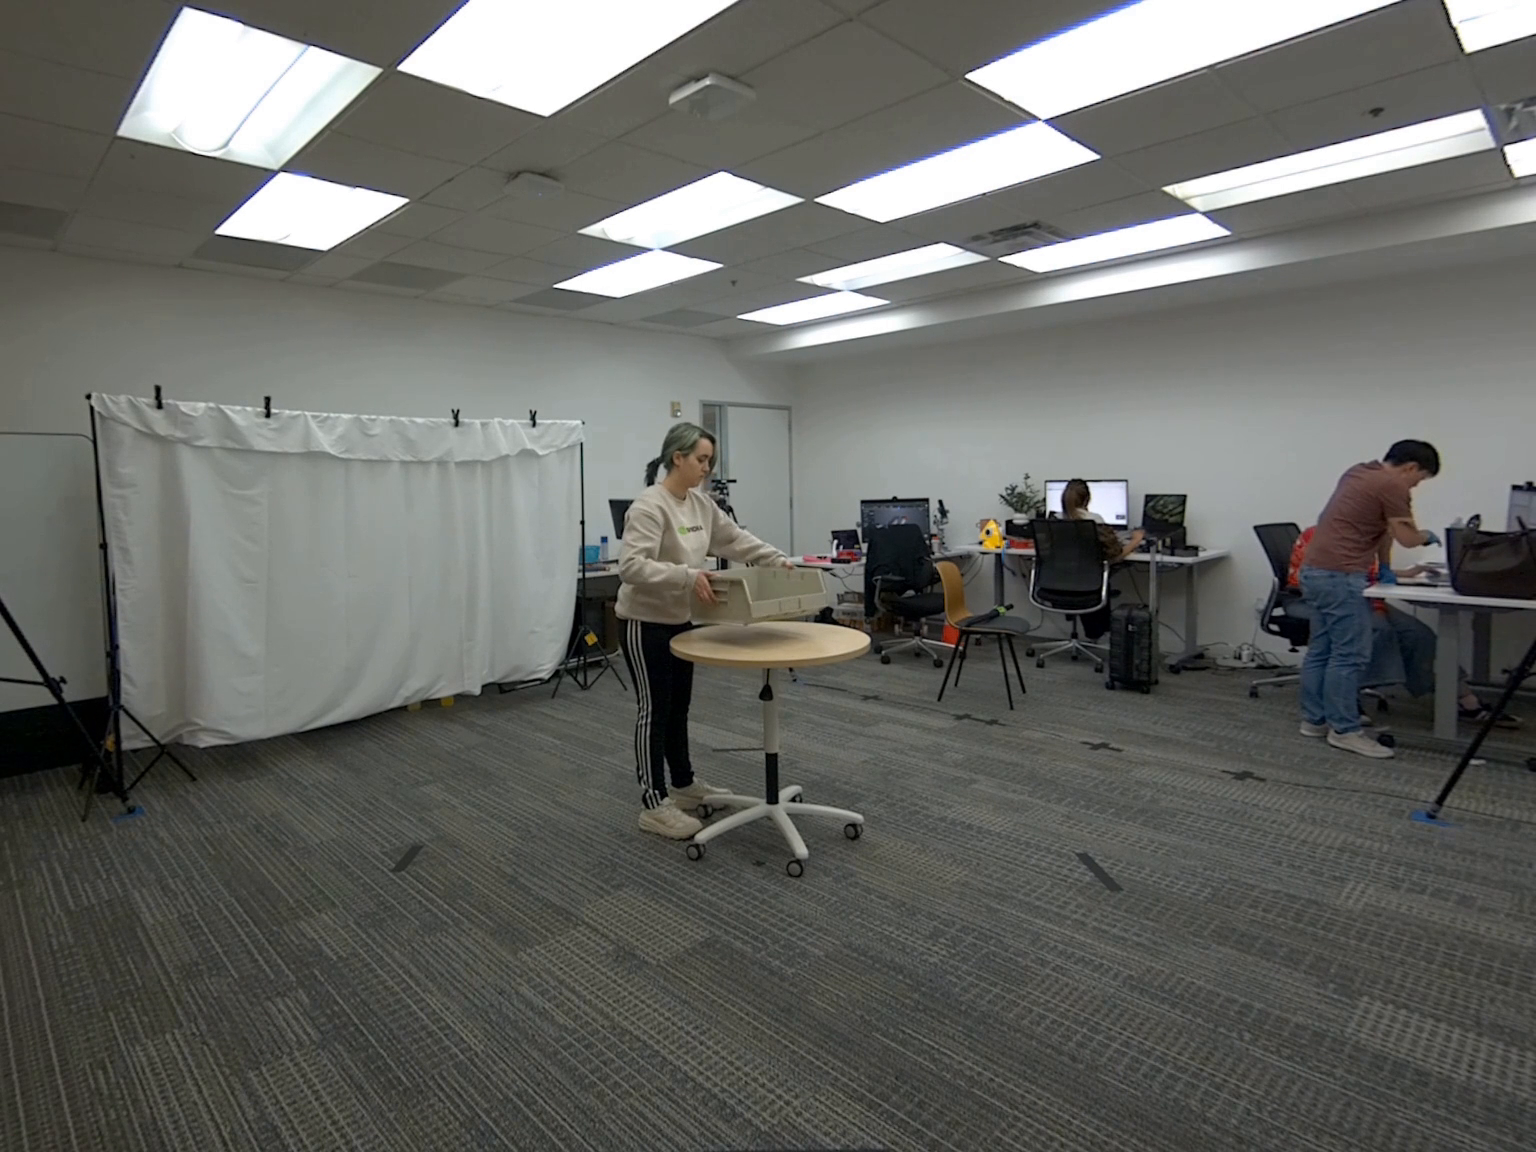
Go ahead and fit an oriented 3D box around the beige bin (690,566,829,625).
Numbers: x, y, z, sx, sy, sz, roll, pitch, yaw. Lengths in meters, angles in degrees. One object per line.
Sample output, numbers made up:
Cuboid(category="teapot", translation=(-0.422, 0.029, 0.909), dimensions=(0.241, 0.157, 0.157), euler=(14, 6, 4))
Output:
Cuboid(category="beige bin", translation=(-0.044, 0.068, 3.305), dimensions=(0.411, 0.188, 0.388), euler=(-8, 6, -41))
